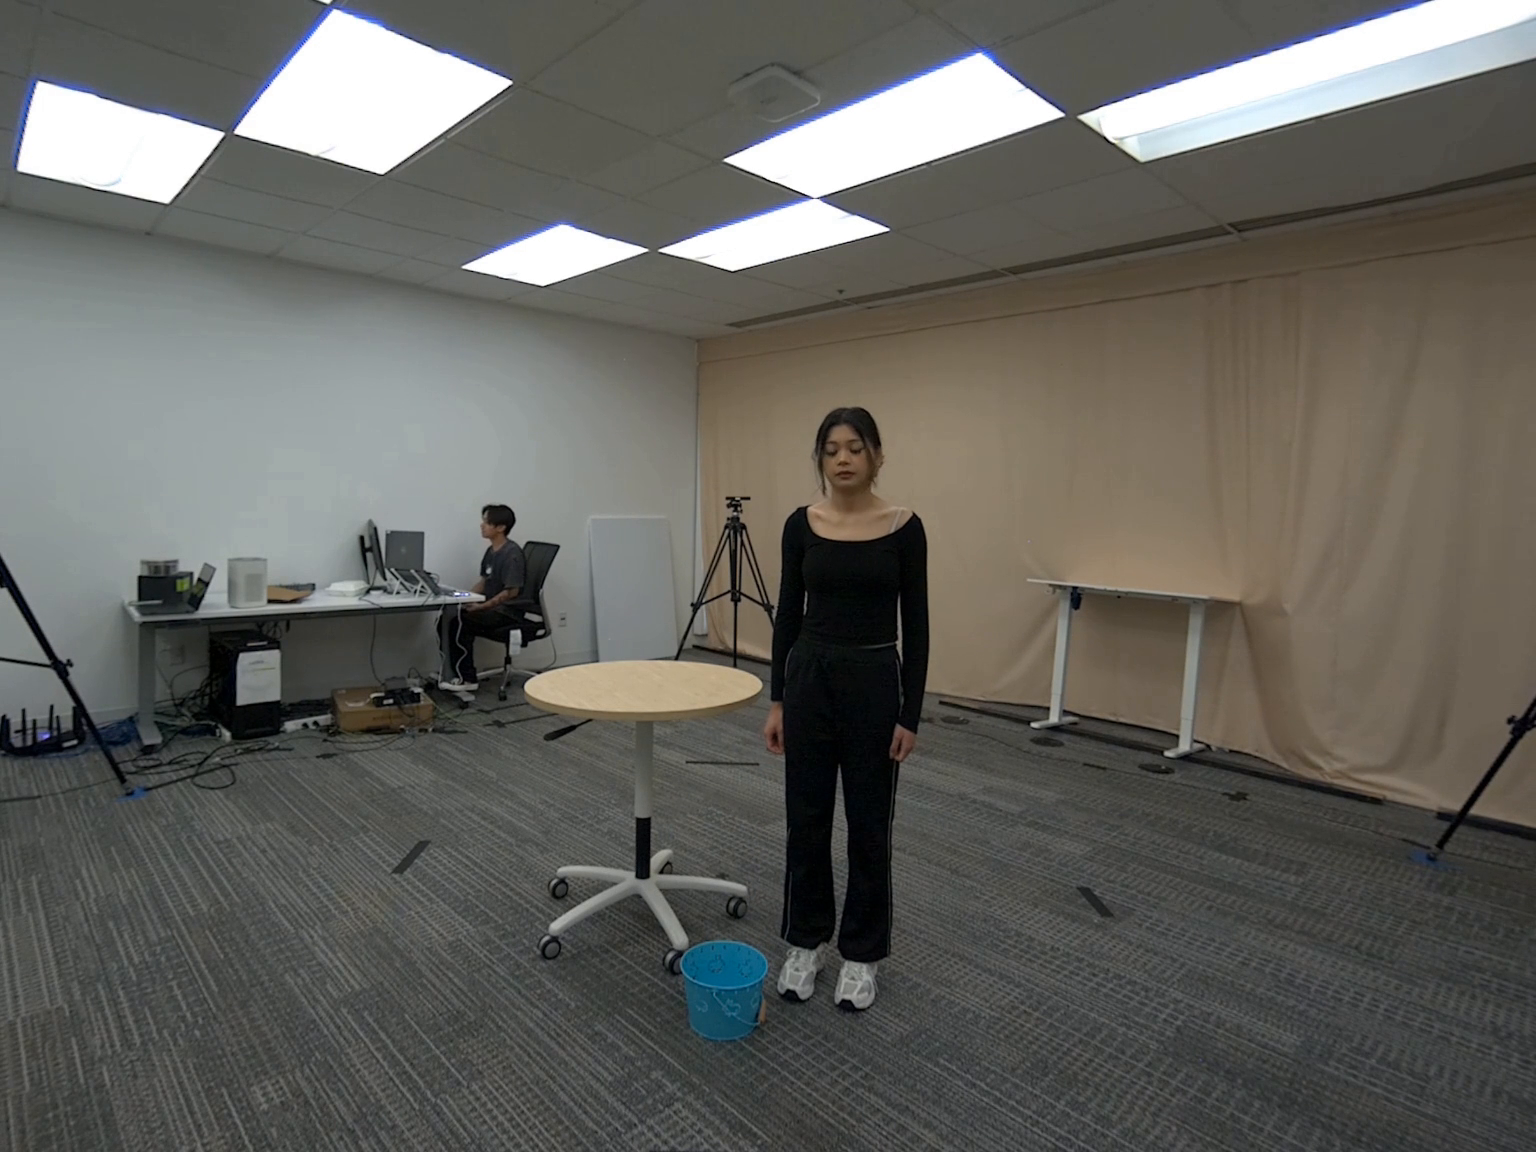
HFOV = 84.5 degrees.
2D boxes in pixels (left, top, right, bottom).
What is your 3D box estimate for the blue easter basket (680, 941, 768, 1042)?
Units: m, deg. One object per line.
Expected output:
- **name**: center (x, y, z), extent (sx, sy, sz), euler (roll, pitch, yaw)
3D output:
- **blue easter basket**: center (-0.123, 1.110, 2.242), extent (0.243, 0.155, 0.244), euler (1, 5, -1)
